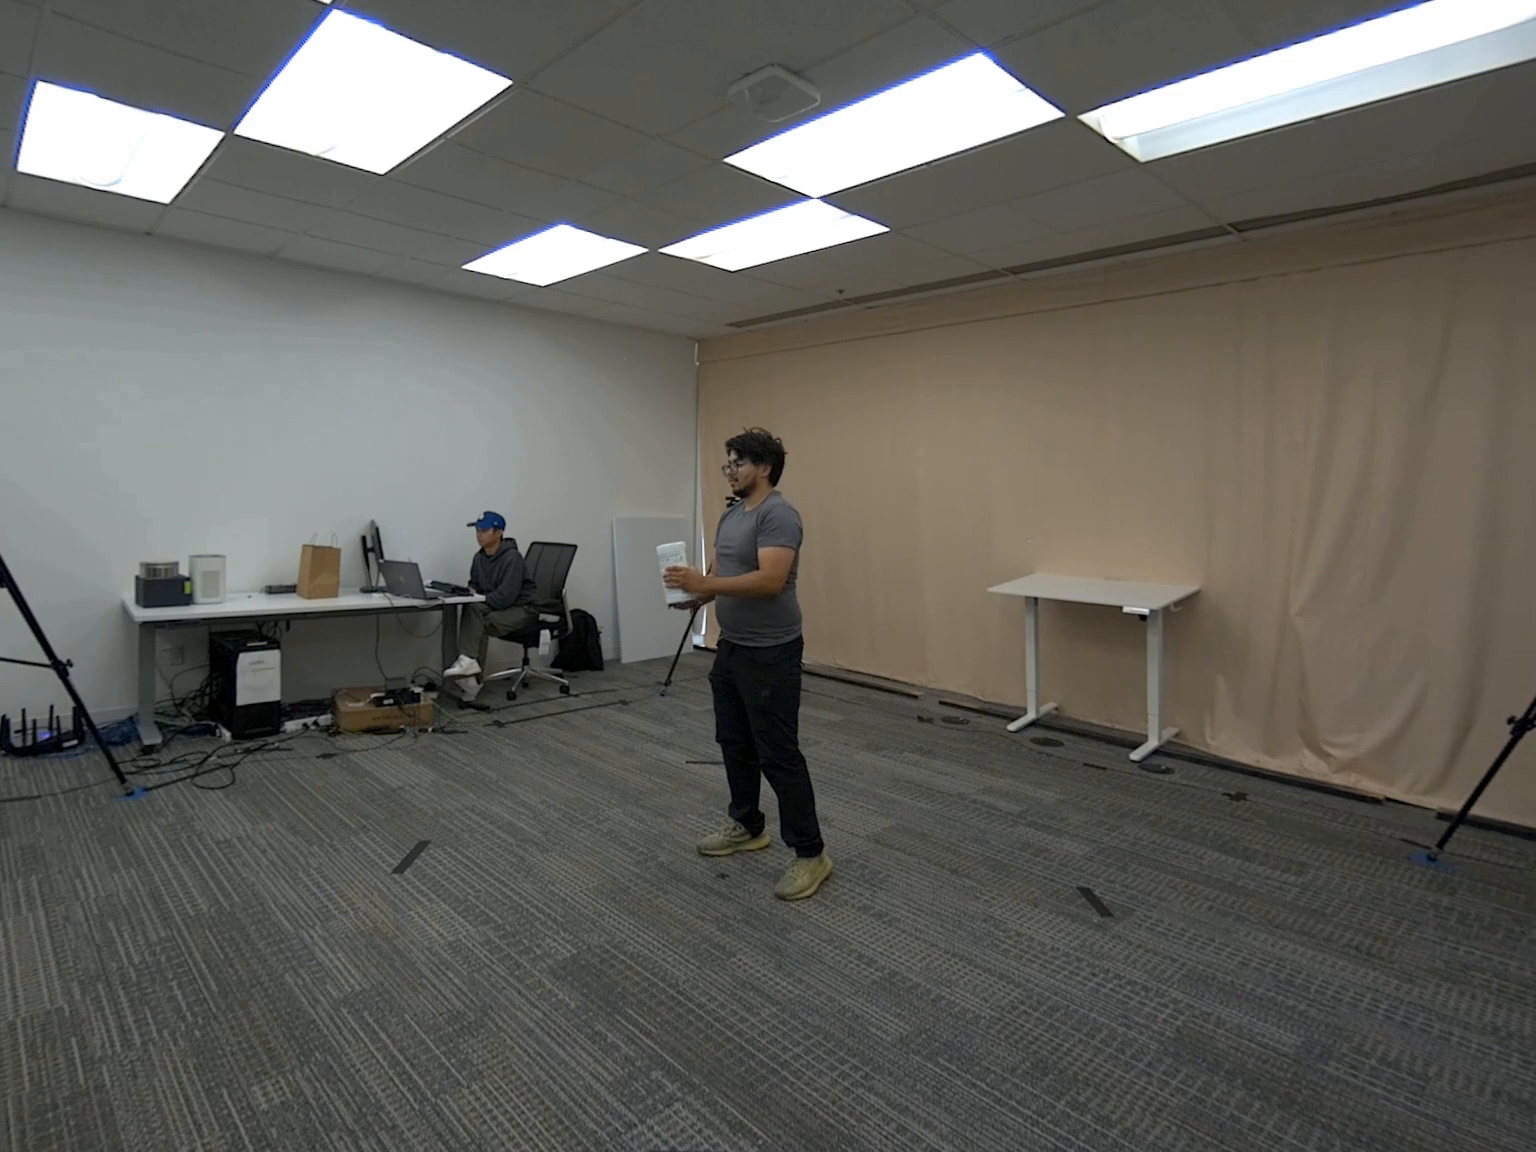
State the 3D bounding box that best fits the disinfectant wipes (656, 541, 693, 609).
[{"bbox_3d":[-0.344,-0.013,3.068,0.118,0.217,0.118,-10,0,-1],"label":"disinfectant wipes"}]
